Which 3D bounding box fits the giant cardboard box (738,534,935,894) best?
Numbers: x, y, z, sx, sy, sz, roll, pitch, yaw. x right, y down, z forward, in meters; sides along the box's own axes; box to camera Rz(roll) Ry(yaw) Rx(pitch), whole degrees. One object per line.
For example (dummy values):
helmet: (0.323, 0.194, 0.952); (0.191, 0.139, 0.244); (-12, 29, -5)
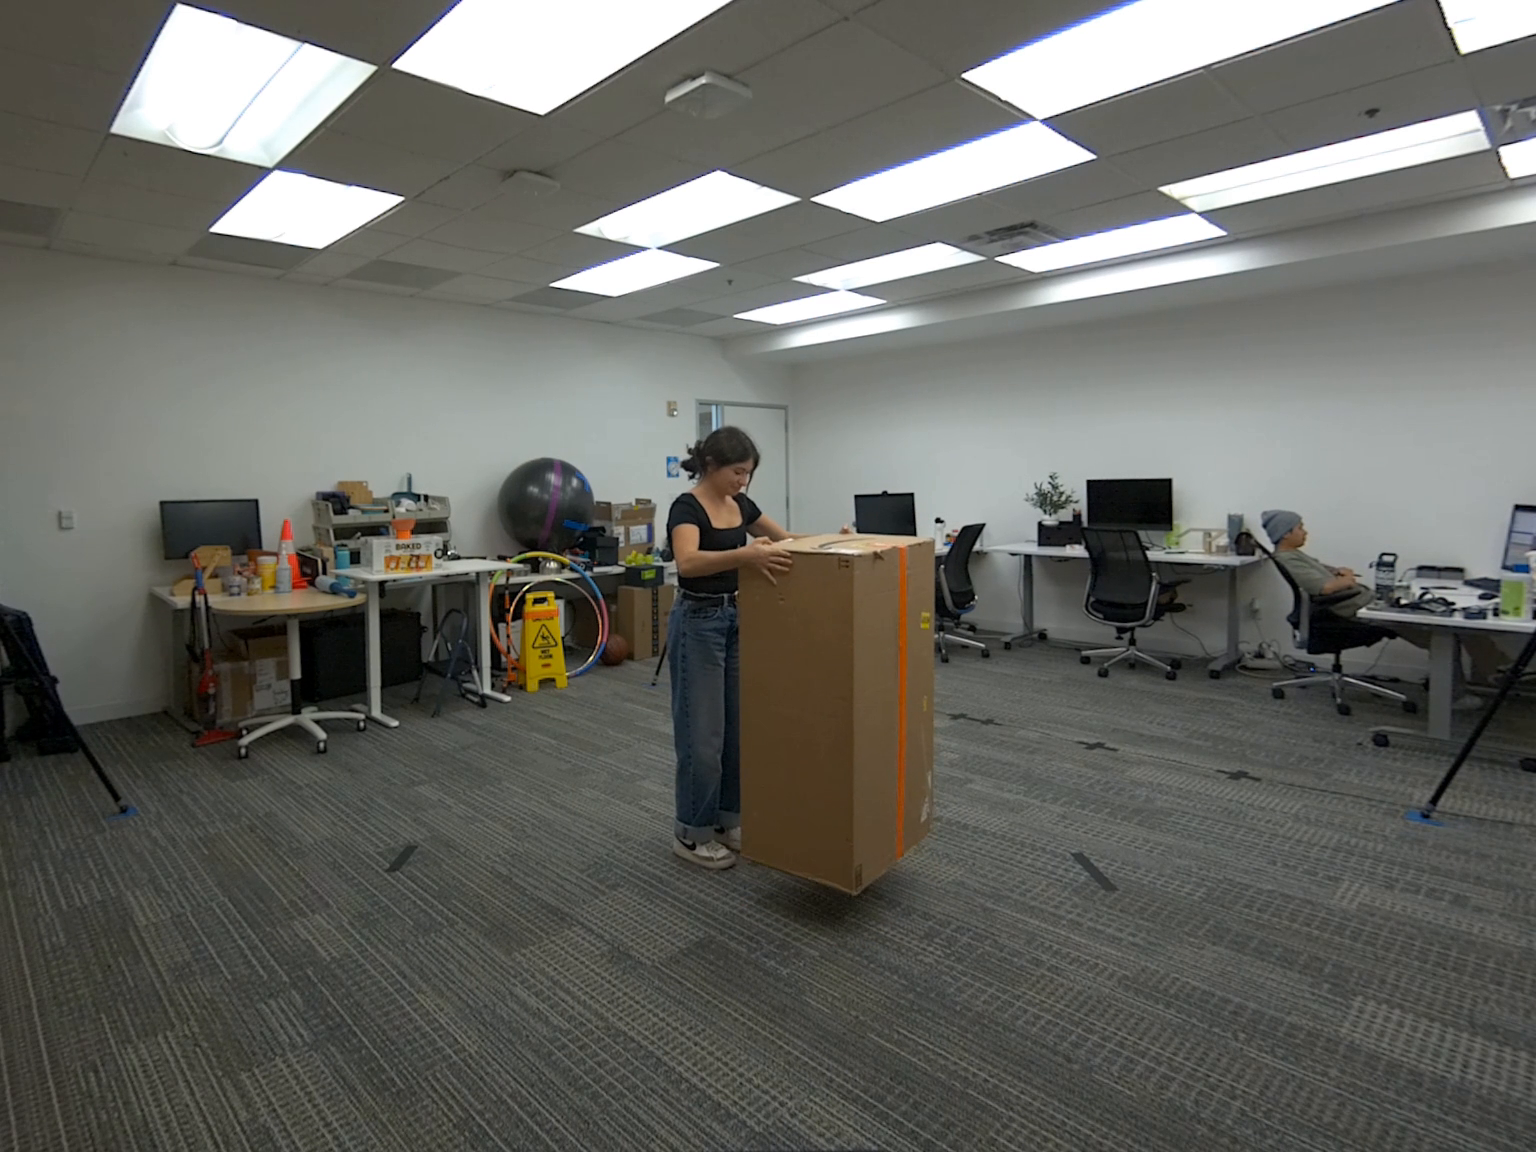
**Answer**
giant cardboard box: (0.245, 0.401, 2.838); (0.438, 1.021, 0.563); (2, 6, 36)
